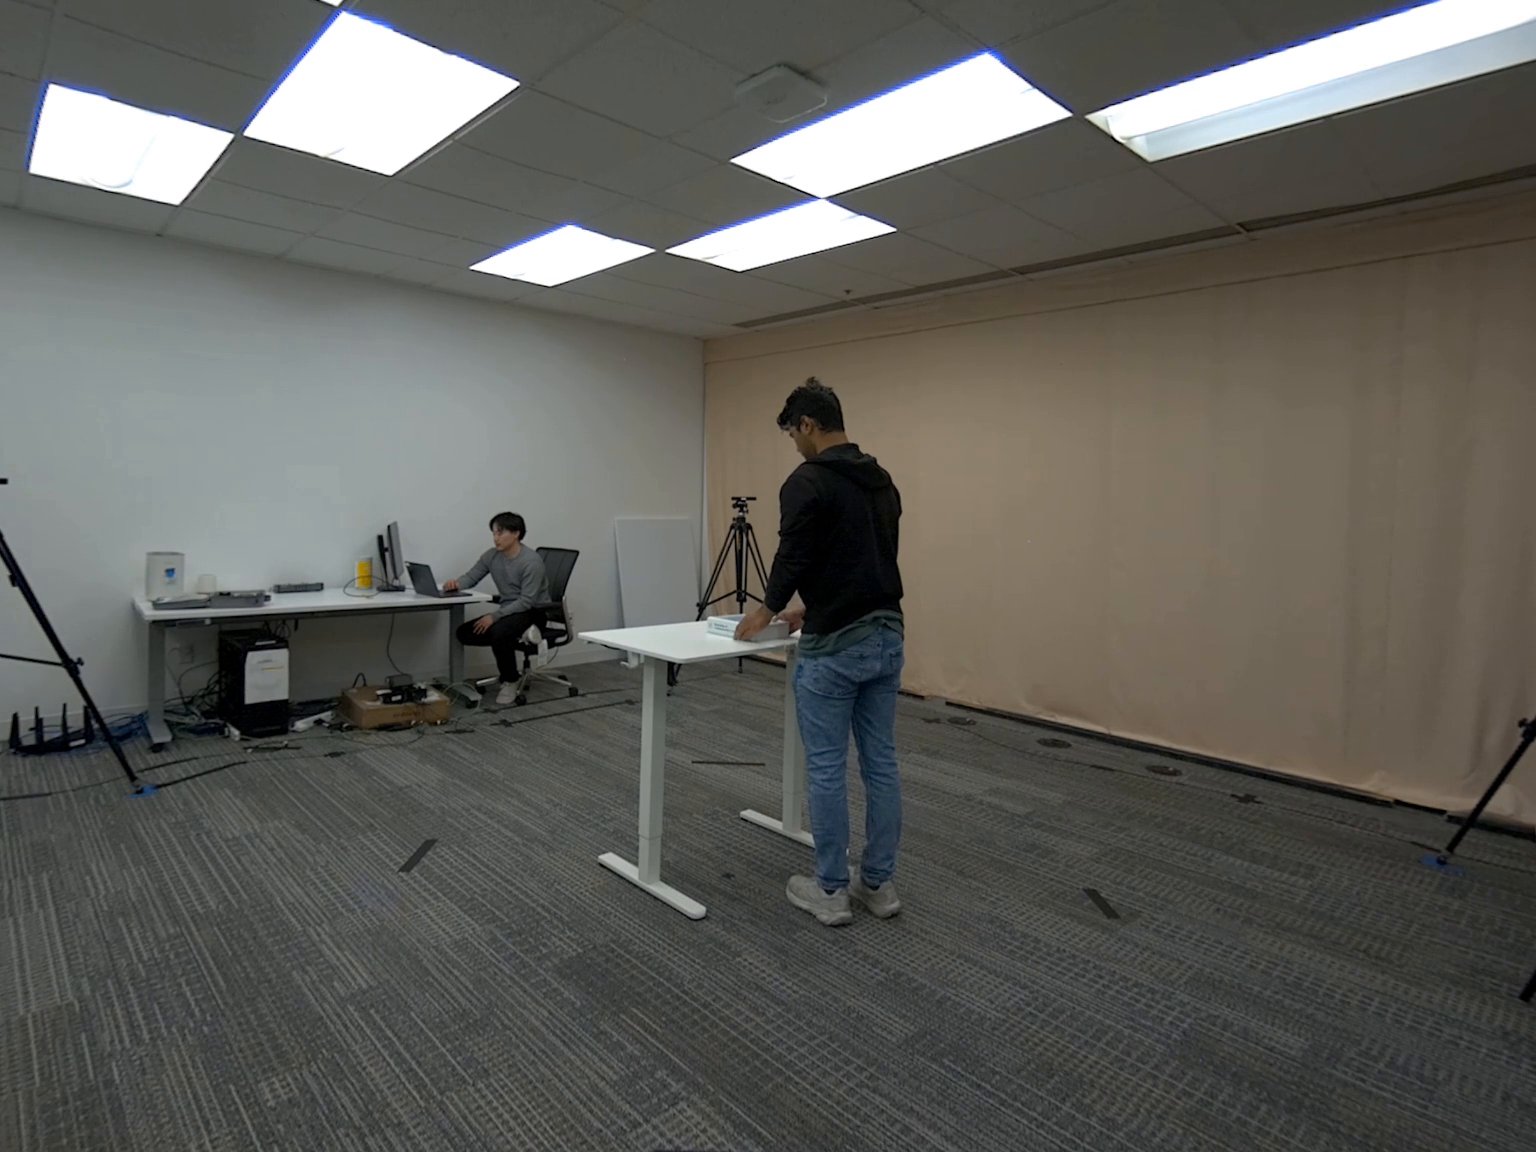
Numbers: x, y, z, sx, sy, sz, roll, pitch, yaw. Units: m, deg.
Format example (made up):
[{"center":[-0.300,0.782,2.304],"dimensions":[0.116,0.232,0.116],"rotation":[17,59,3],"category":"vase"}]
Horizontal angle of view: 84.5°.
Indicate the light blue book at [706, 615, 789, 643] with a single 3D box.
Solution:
[{"center":[-0.077,0.197,3.167],"dimensions":[0.187,0.059,0.268],"rotation":[-4,8,-44],"category":"light blue book"}]
